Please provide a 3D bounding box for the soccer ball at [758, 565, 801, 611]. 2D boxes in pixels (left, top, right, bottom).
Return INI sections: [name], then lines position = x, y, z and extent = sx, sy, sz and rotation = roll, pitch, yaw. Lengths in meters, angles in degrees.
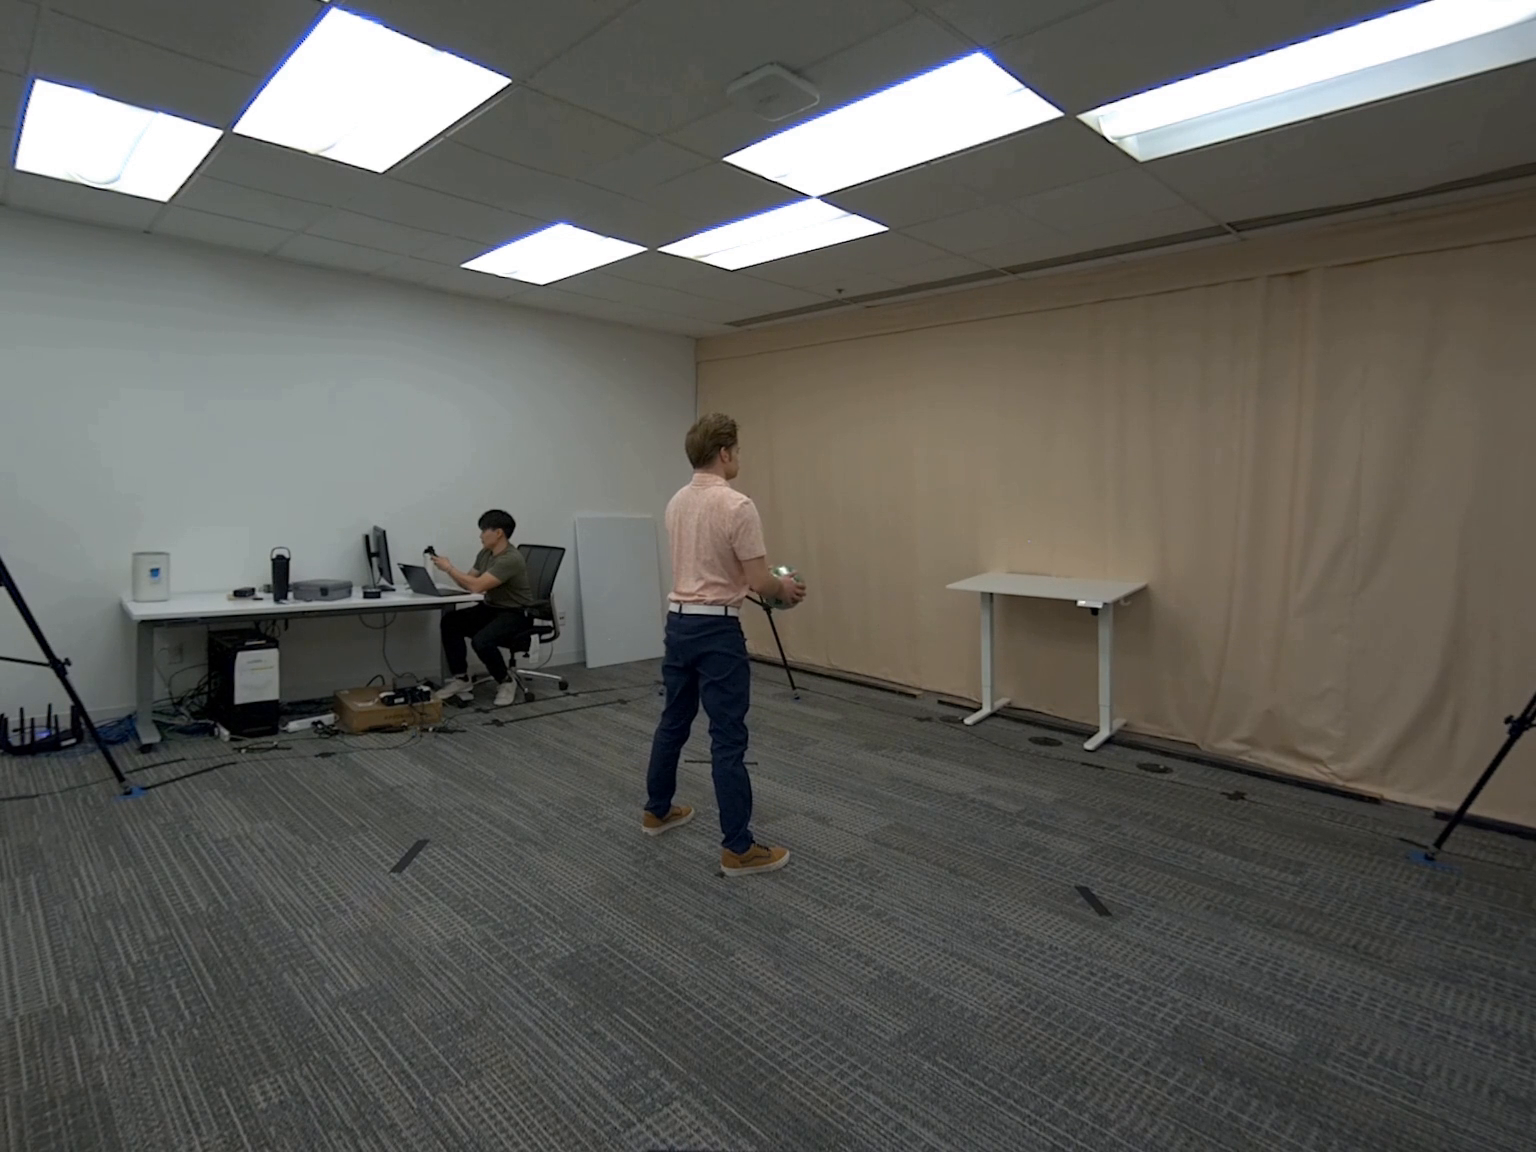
[soccer ball]
position = 0.059, 0.046, 3.552
extent = 0.187, 0.187, 0.188
rotation = 1, 4, -1
